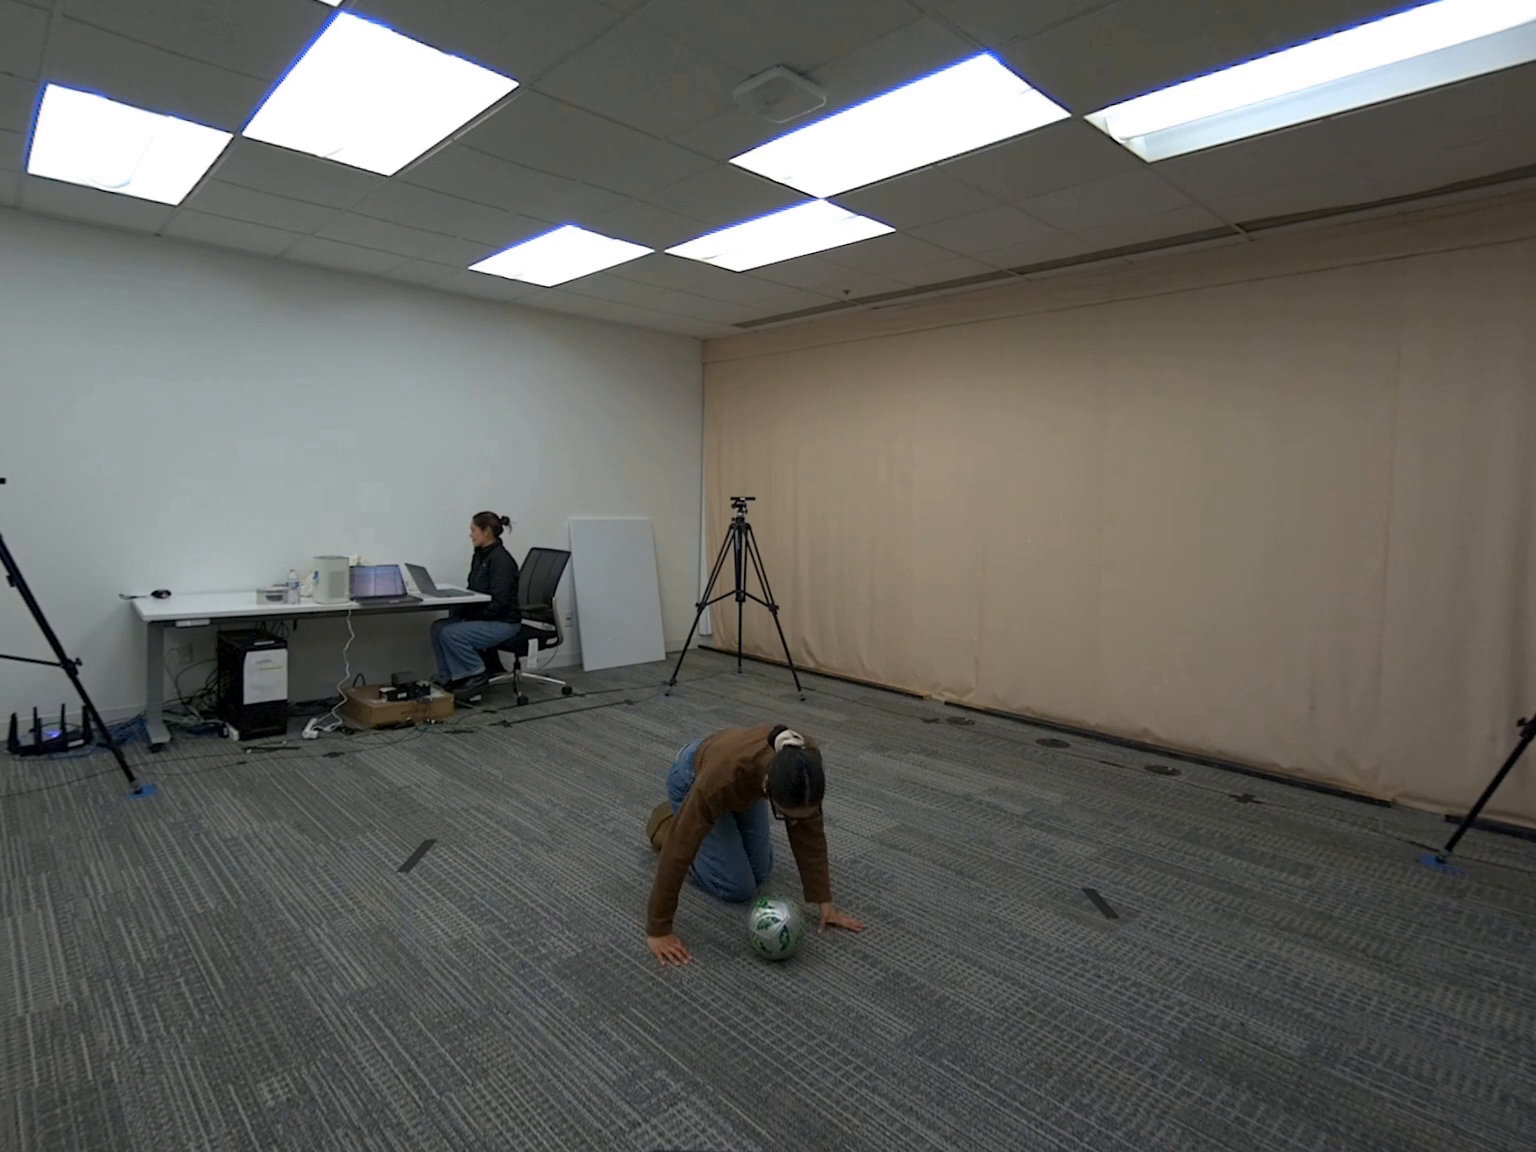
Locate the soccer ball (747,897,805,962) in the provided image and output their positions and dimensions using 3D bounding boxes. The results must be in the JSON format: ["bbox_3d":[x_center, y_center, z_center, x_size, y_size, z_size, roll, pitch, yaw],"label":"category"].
[{"bbox_3d":[0.009,1.073,2.556,0.187,0.187,0.188,1,4,-1],"label":"soccer ball"}]
